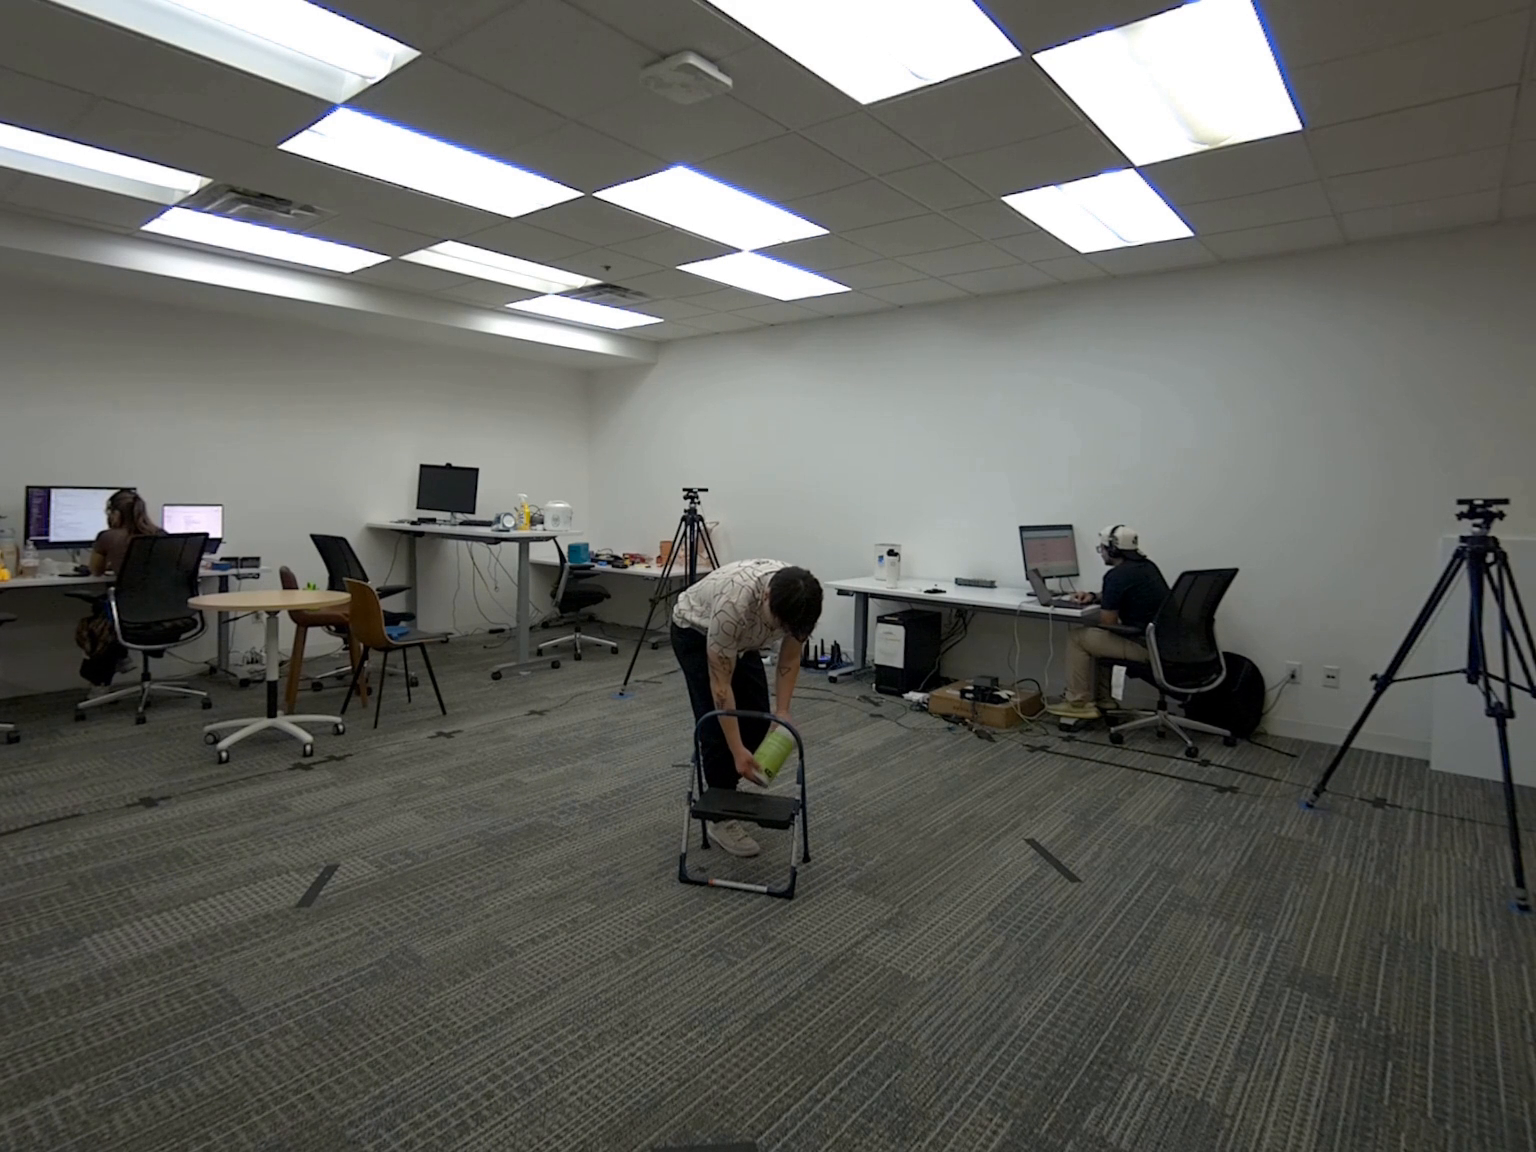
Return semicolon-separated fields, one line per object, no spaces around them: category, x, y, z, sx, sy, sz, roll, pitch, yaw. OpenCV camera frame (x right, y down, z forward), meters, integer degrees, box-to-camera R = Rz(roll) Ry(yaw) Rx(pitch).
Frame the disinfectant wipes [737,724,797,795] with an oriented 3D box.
disinfectant wipes;-0.002;0.665;3.165;0.120;0.218;0.115;32;-20;11
